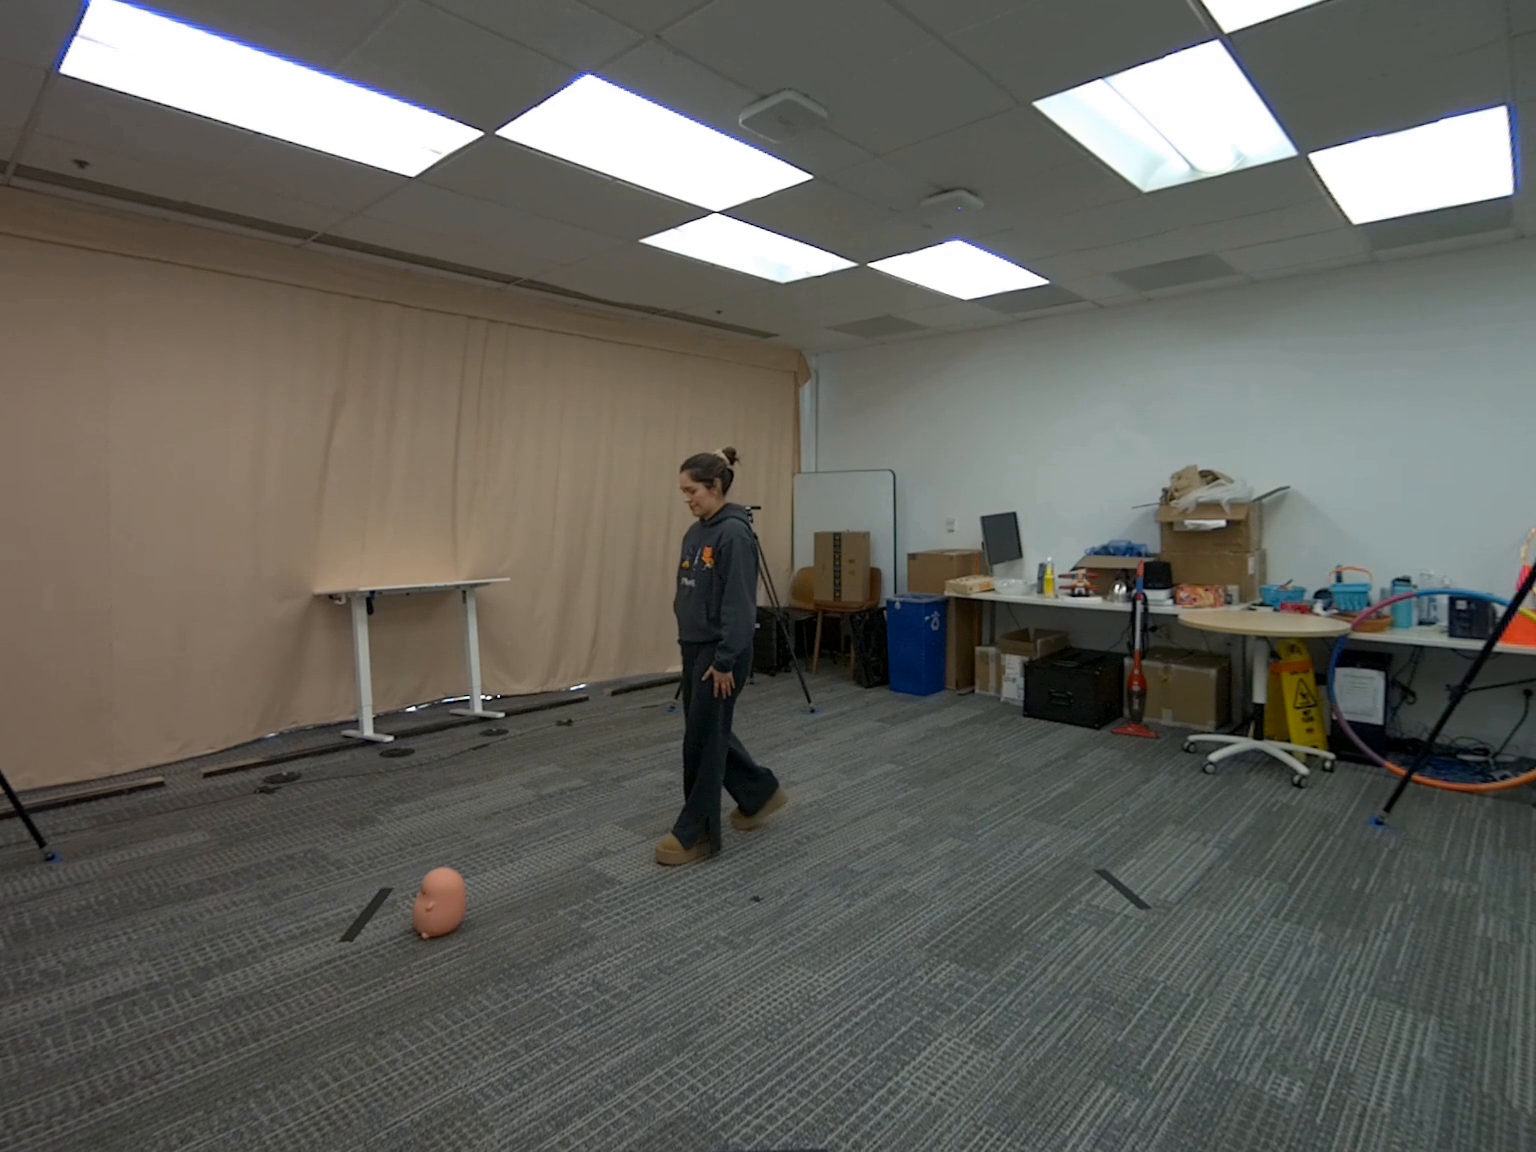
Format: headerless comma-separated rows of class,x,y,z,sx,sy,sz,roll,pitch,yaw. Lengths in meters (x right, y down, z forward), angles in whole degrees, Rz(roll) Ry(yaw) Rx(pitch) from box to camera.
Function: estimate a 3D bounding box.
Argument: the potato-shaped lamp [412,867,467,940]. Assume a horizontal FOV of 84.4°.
potato-shaped lamp,-1.069,1.081,2.788,0.166,0.198,0.170,3,0,-35
